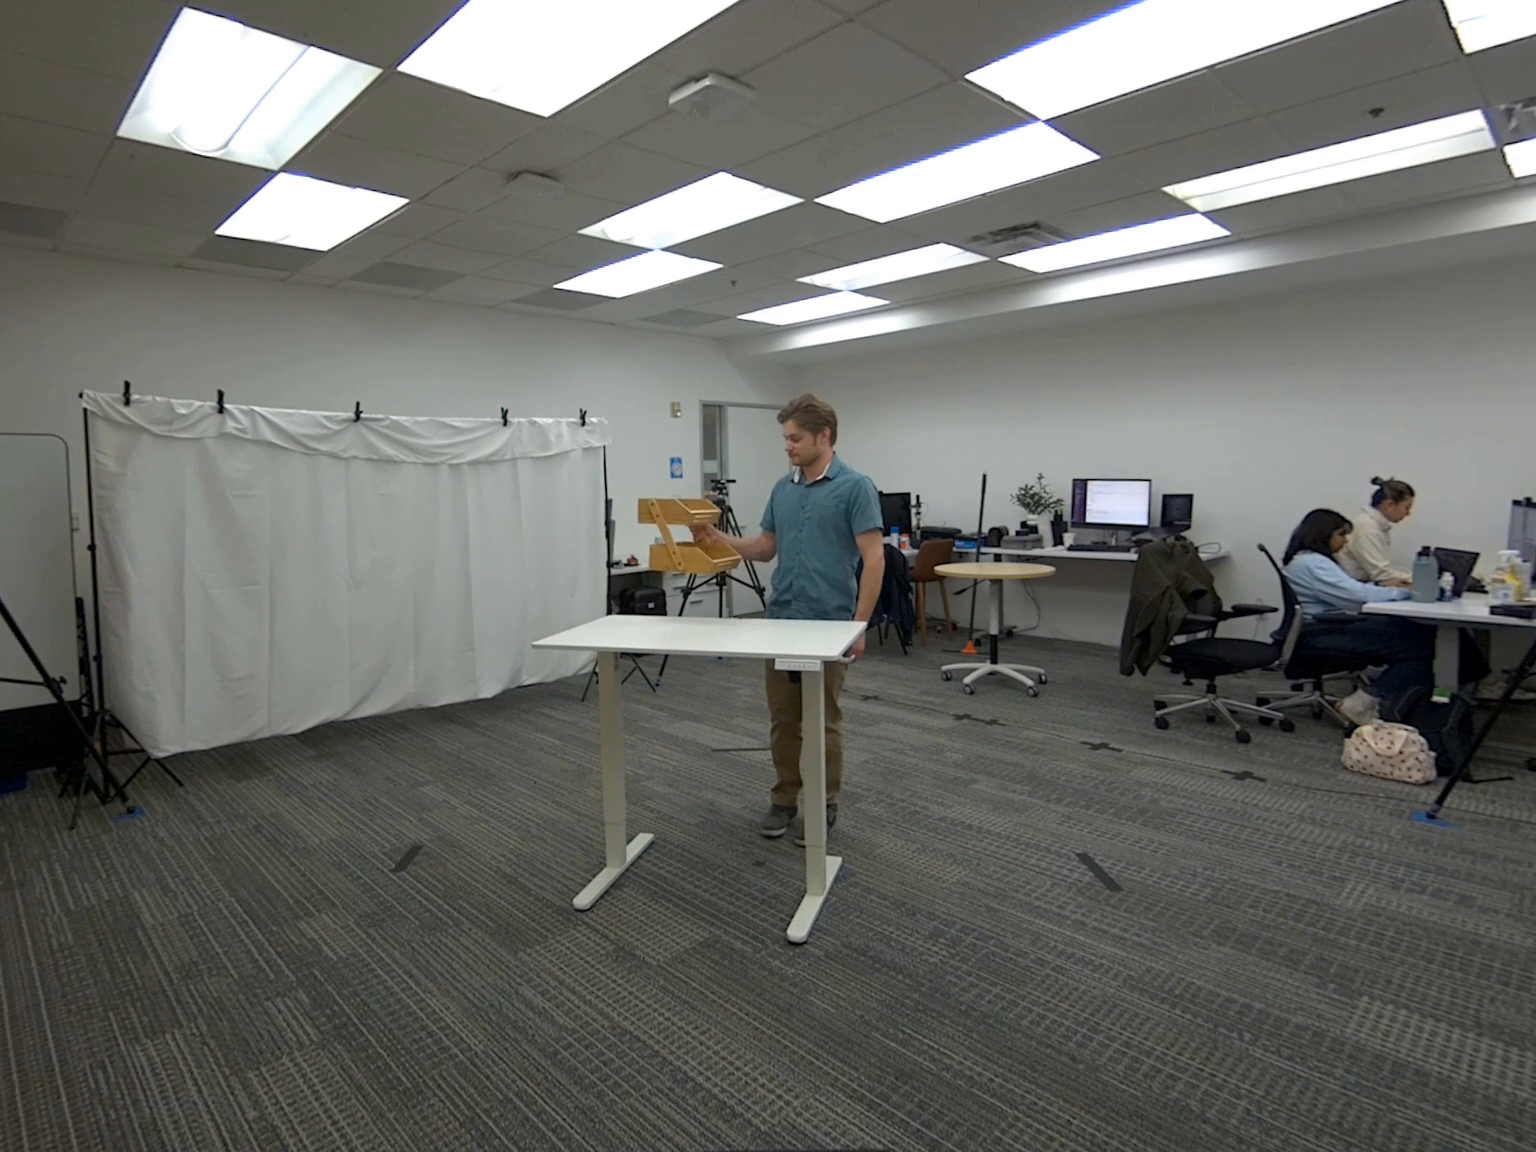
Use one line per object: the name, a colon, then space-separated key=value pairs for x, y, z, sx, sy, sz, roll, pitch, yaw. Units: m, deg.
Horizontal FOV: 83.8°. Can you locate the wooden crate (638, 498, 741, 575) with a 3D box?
wooden crate: x=-0.280 y=-0.161 z=3.180 sx=0.308 sy=0.272 sz=0.319 roll=4 pitch=5 yaw=20
